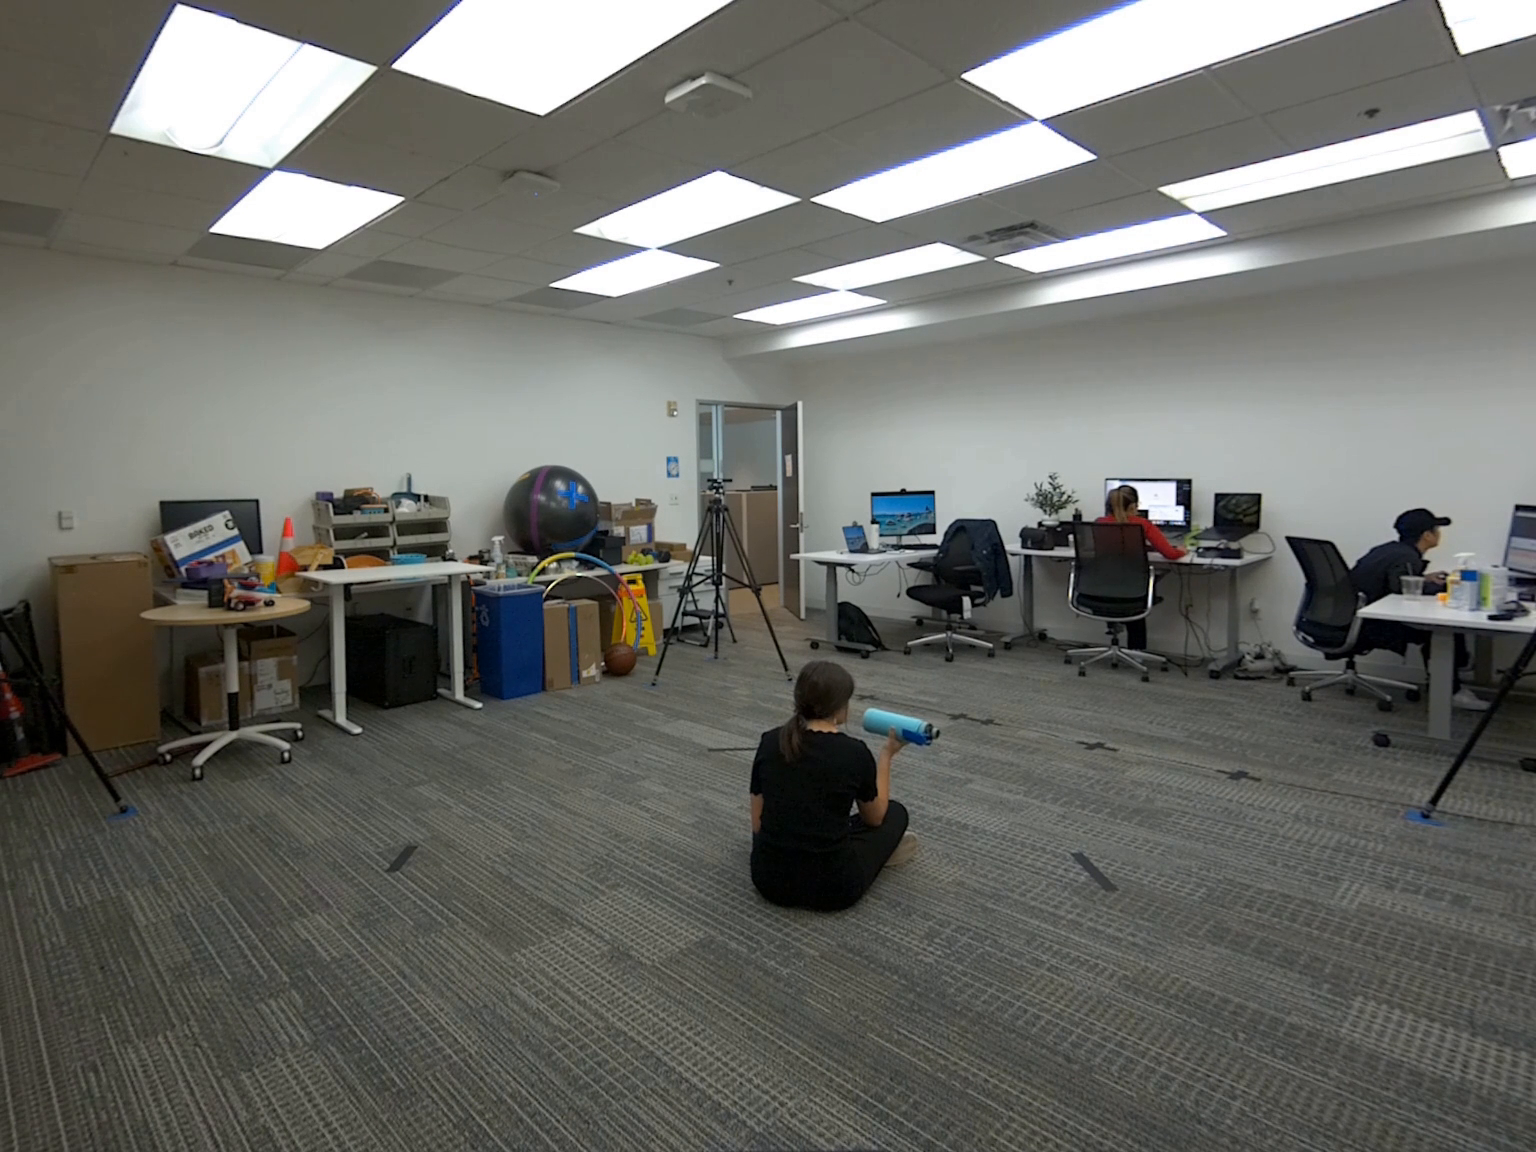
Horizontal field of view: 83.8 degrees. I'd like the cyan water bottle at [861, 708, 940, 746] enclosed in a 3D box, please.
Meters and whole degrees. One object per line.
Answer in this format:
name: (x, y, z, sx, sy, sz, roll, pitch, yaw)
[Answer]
cyan water bottle: (0.485, 0.548, 3.098, 0.292, 0.092, 0.090, 7, 9, 44)
